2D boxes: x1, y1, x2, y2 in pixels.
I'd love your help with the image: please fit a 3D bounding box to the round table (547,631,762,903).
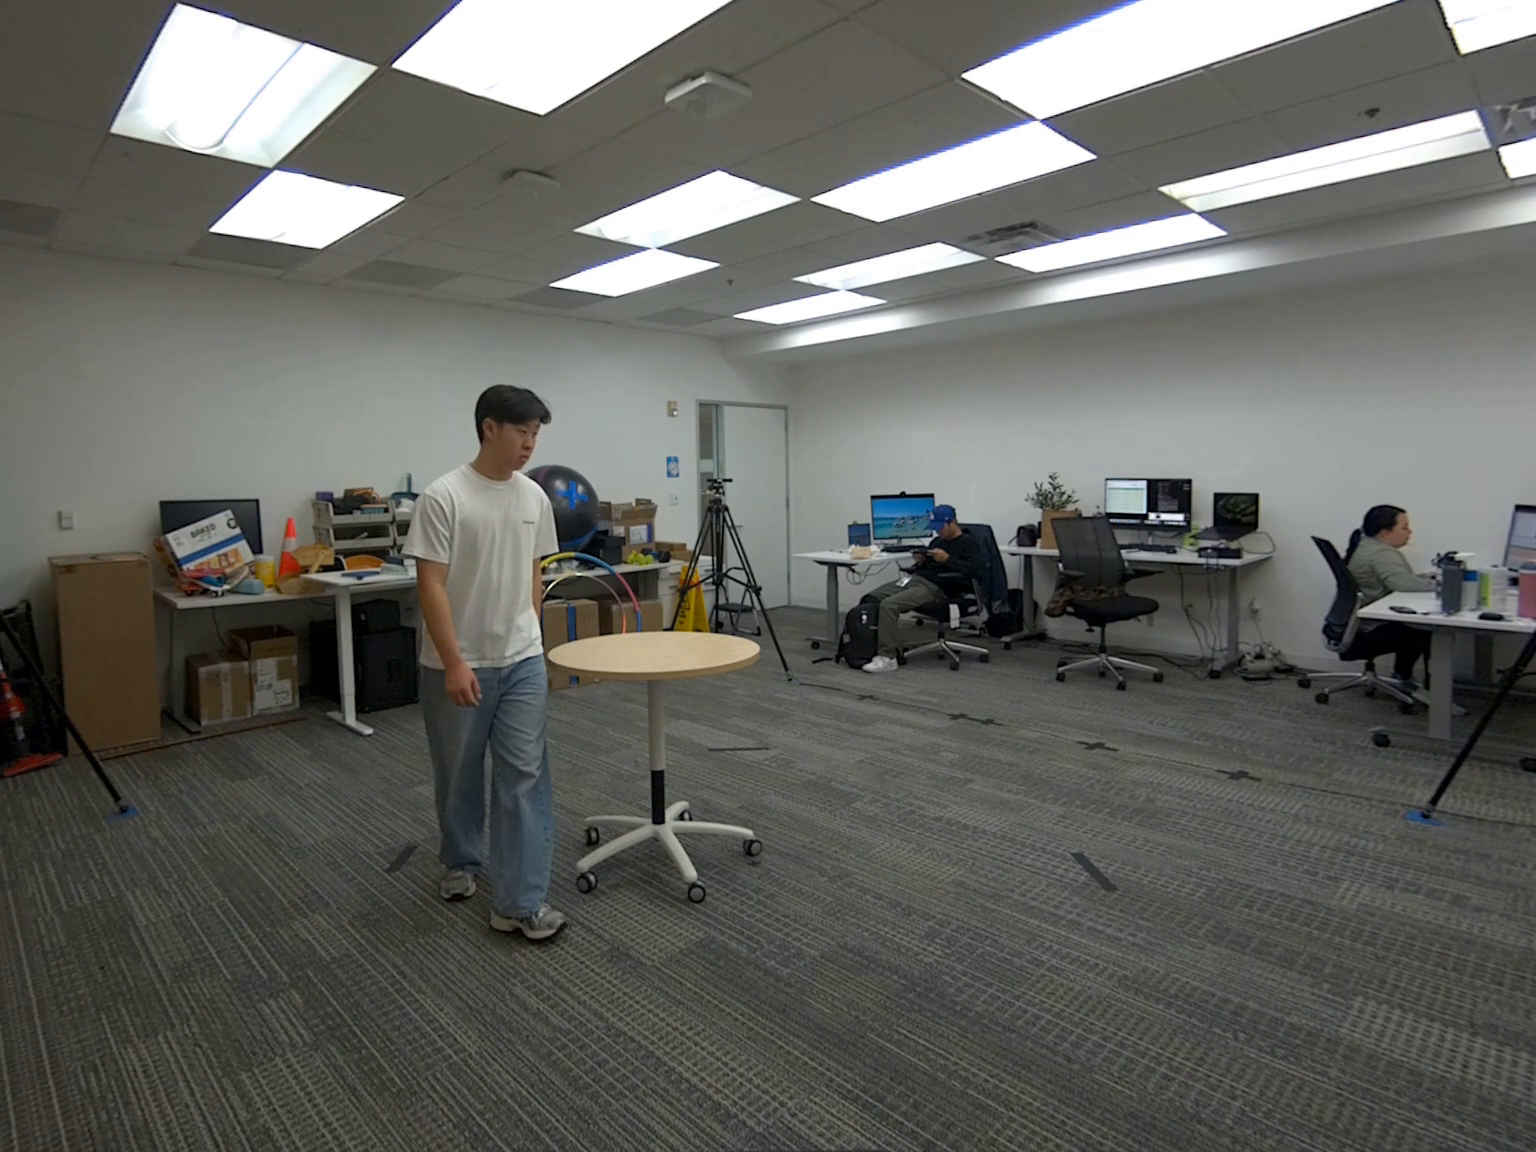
[{"bbox_3d":[-0.401,0.659,3.133,0.763,0.791,0.767,-1,4,-2],"label":"round table"}]
